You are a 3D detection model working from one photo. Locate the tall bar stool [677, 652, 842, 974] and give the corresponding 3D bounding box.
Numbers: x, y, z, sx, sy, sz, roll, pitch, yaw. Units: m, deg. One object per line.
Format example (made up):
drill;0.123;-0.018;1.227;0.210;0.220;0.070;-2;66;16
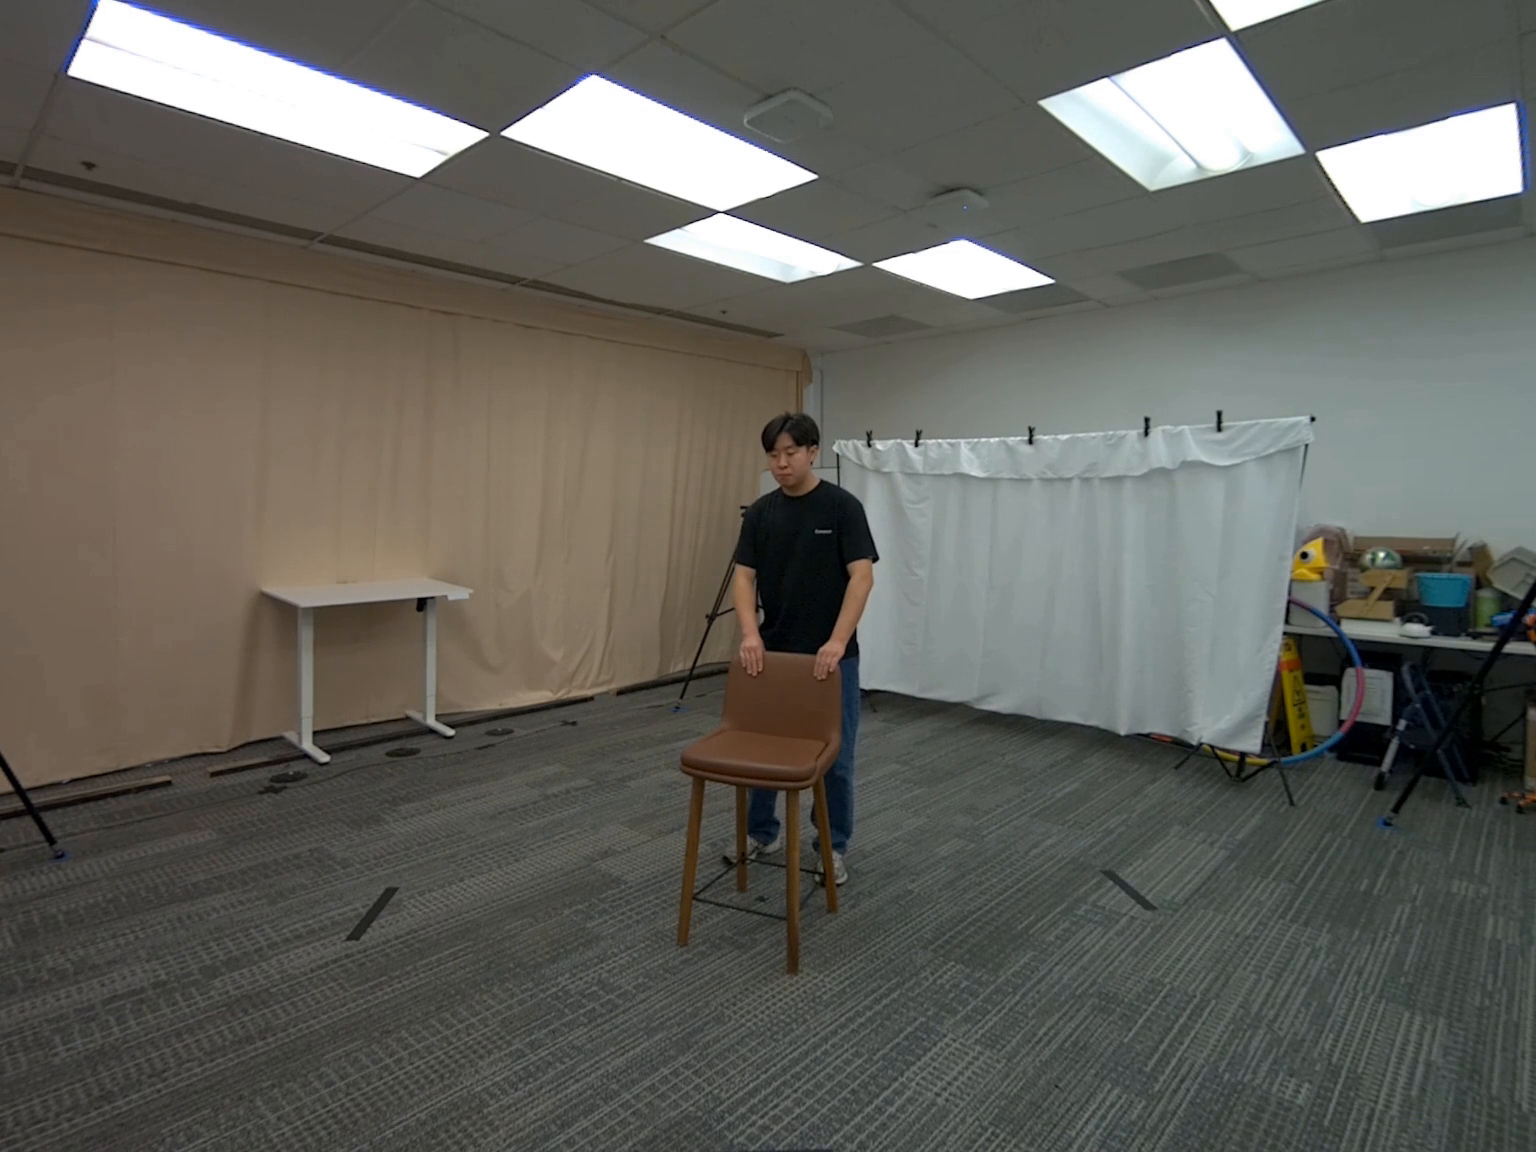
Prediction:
tall bar stool;-0.013;0.721;2.767;0.468;0.889;0.456;2;2;26
